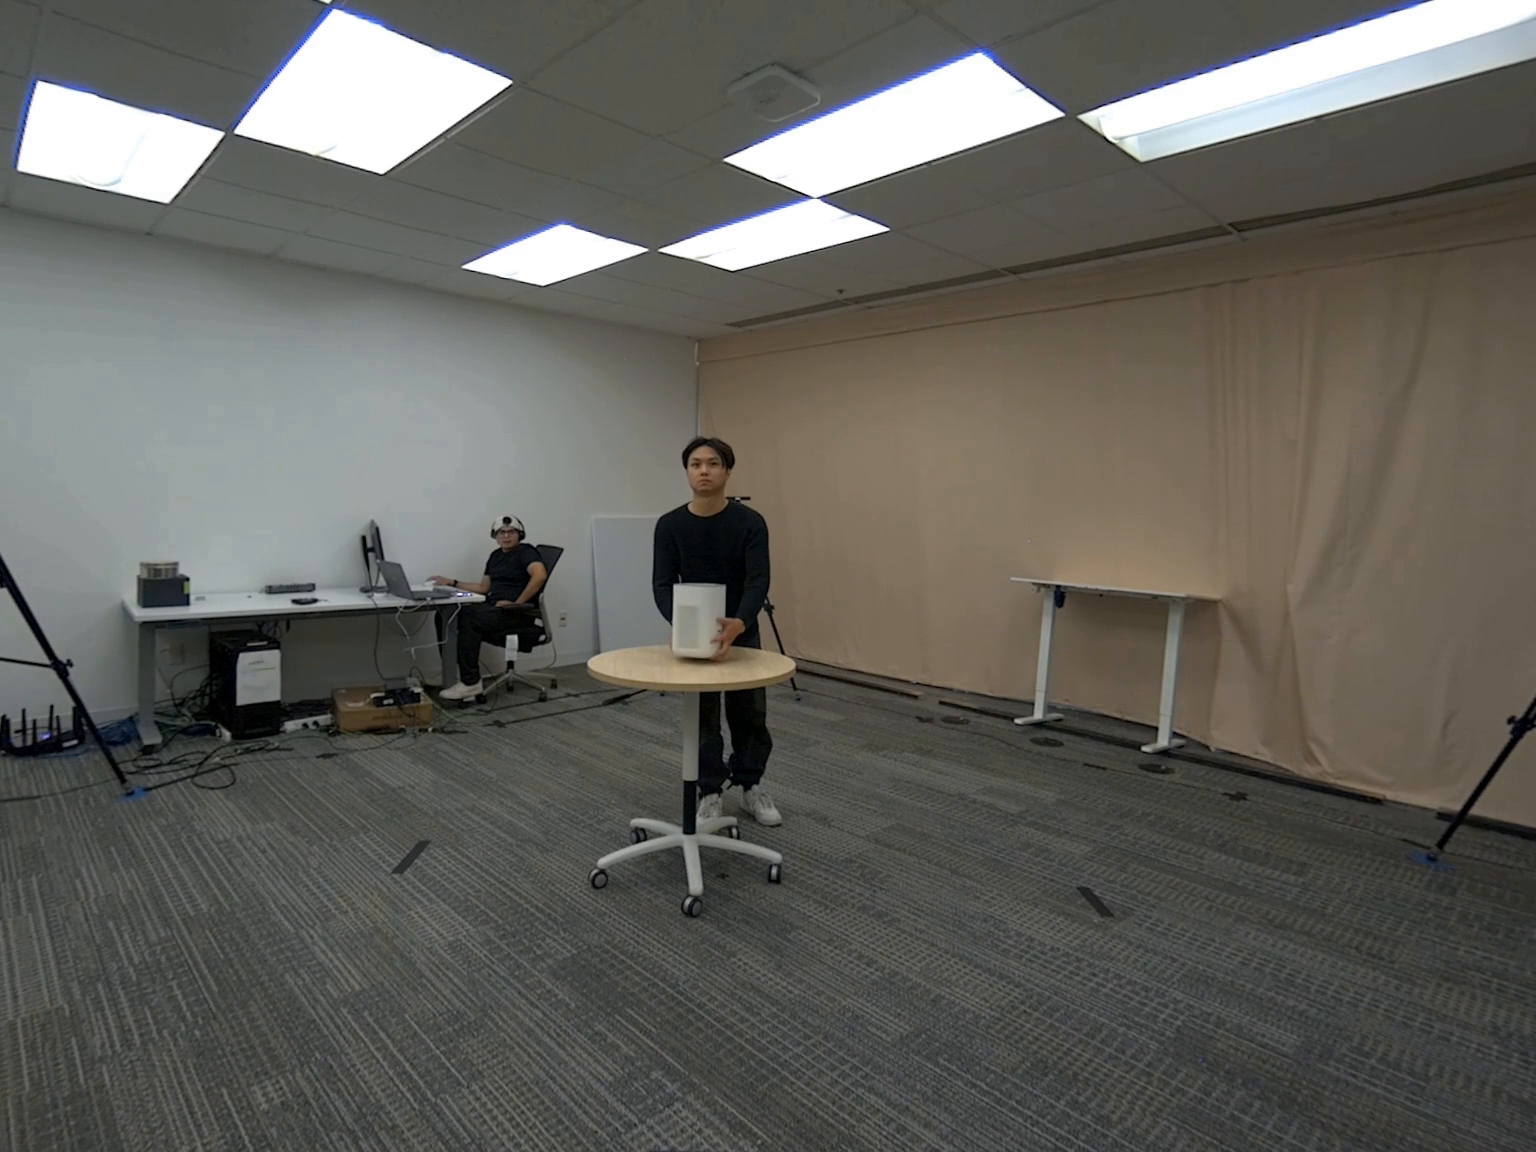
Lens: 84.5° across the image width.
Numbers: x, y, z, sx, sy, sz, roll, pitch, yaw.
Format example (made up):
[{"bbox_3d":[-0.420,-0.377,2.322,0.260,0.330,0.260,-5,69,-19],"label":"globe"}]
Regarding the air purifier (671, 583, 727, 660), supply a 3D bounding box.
[{"bbox_3d":[-0.269,0.160,3.121,0.174,0.265,0.168,1,-1,23],"label":"air purifier"}]
